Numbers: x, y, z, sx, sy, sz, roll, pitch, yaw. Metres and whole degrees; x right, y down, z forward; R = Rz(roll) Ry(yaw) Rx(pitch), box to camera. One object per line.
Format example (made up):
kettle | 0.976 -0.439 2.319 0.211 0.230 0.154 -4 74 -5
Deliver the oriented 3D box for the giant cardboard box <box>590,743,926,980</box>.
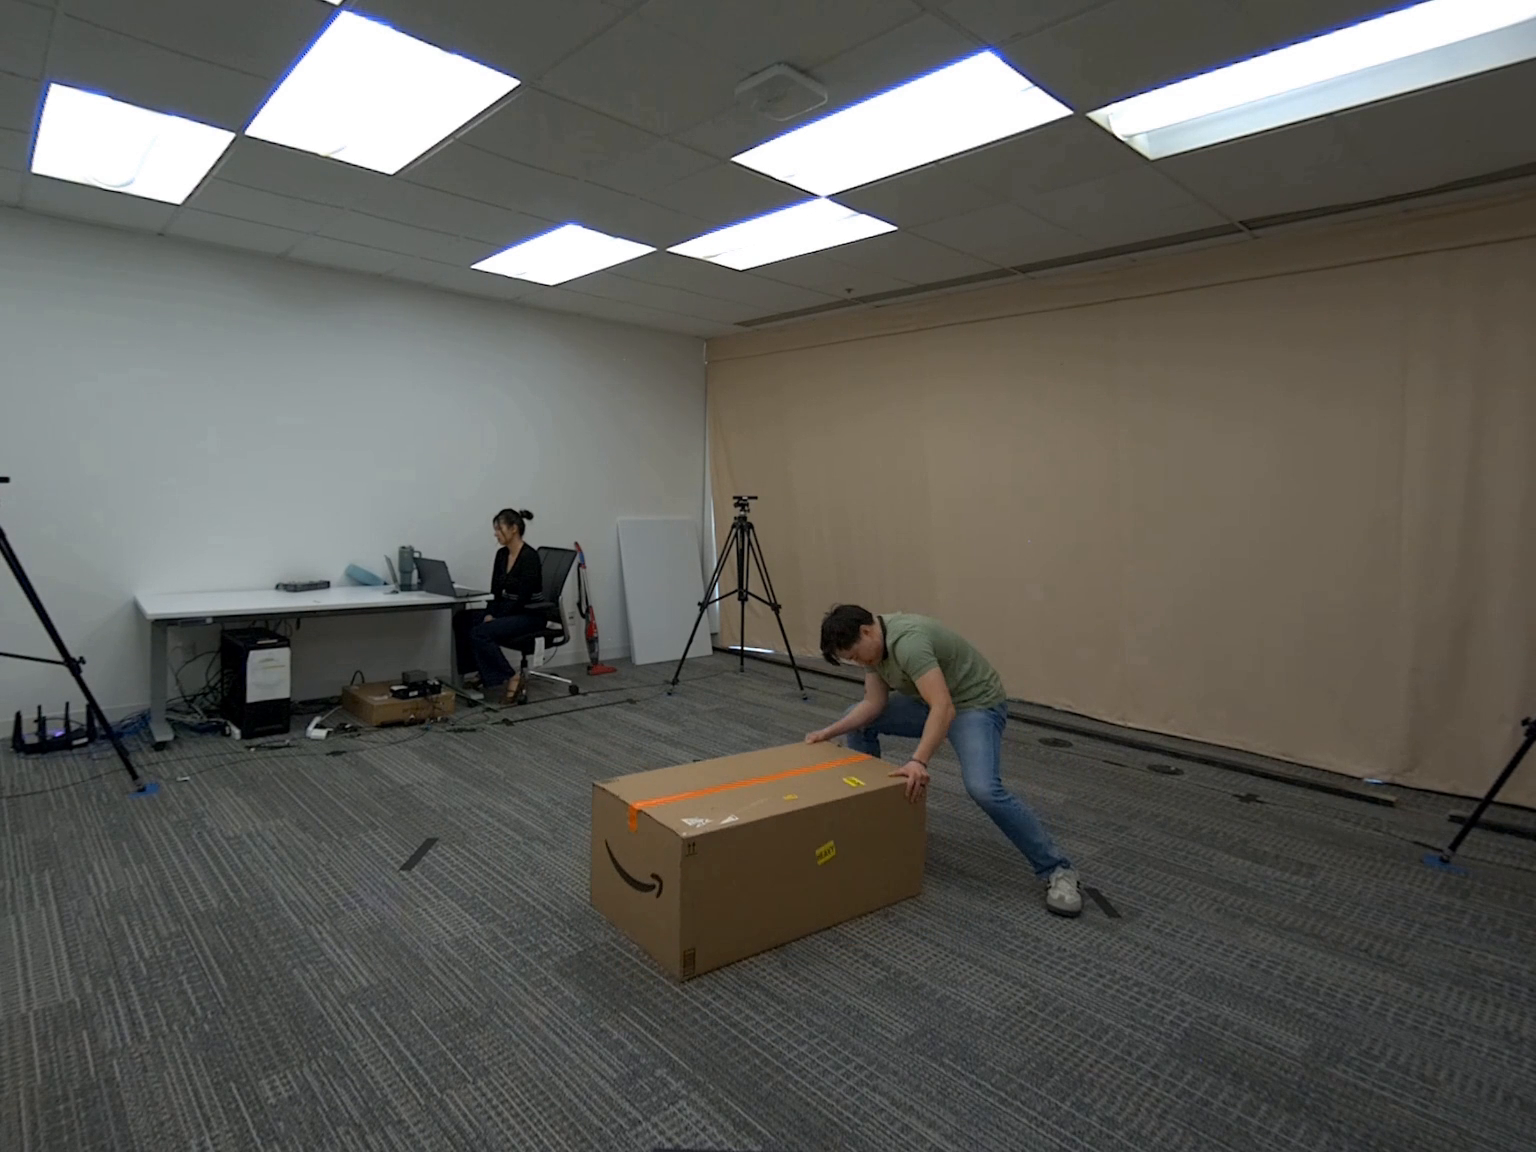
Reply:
giant cardboard box | -0.029 0.910 2.911 1.003 0.425 0.592 -2 6 -37
